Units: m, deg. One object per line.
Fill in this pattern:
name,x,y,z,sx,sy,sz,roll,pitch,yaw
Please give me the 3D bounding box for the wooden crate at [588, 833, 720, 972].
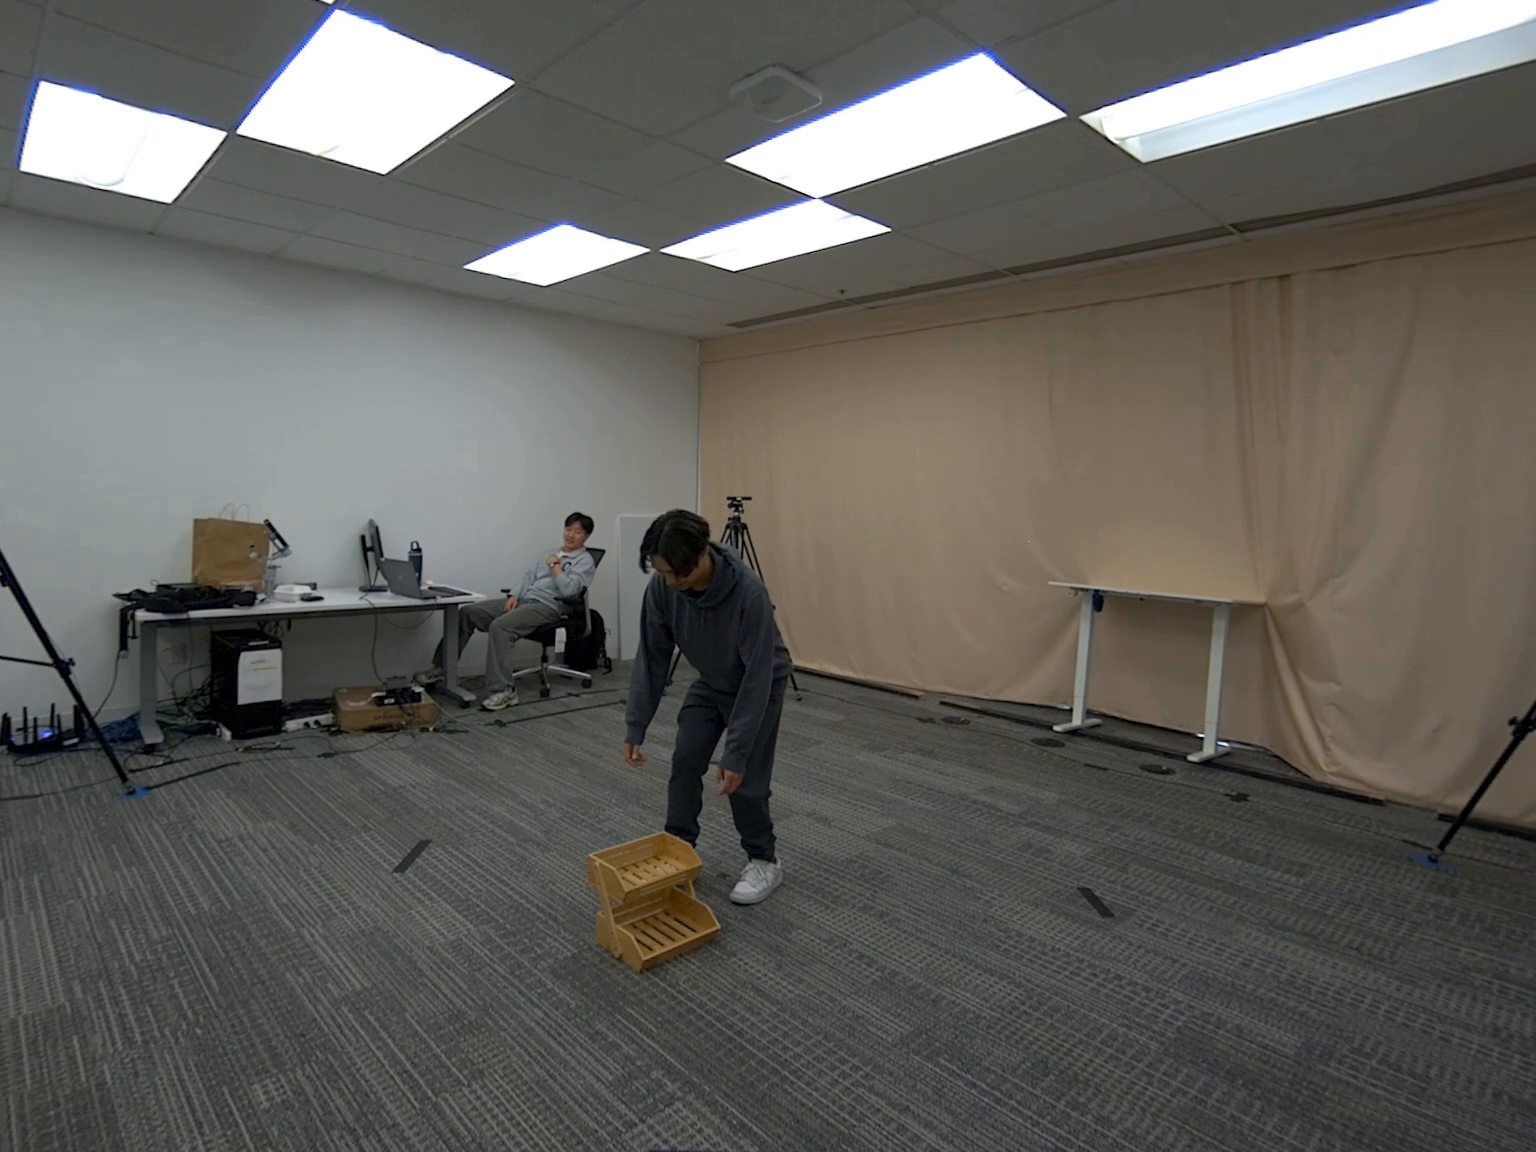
wooden crate,-0.362,1.013,2.641,0.317,0.273,0.309,-2,4,-44
